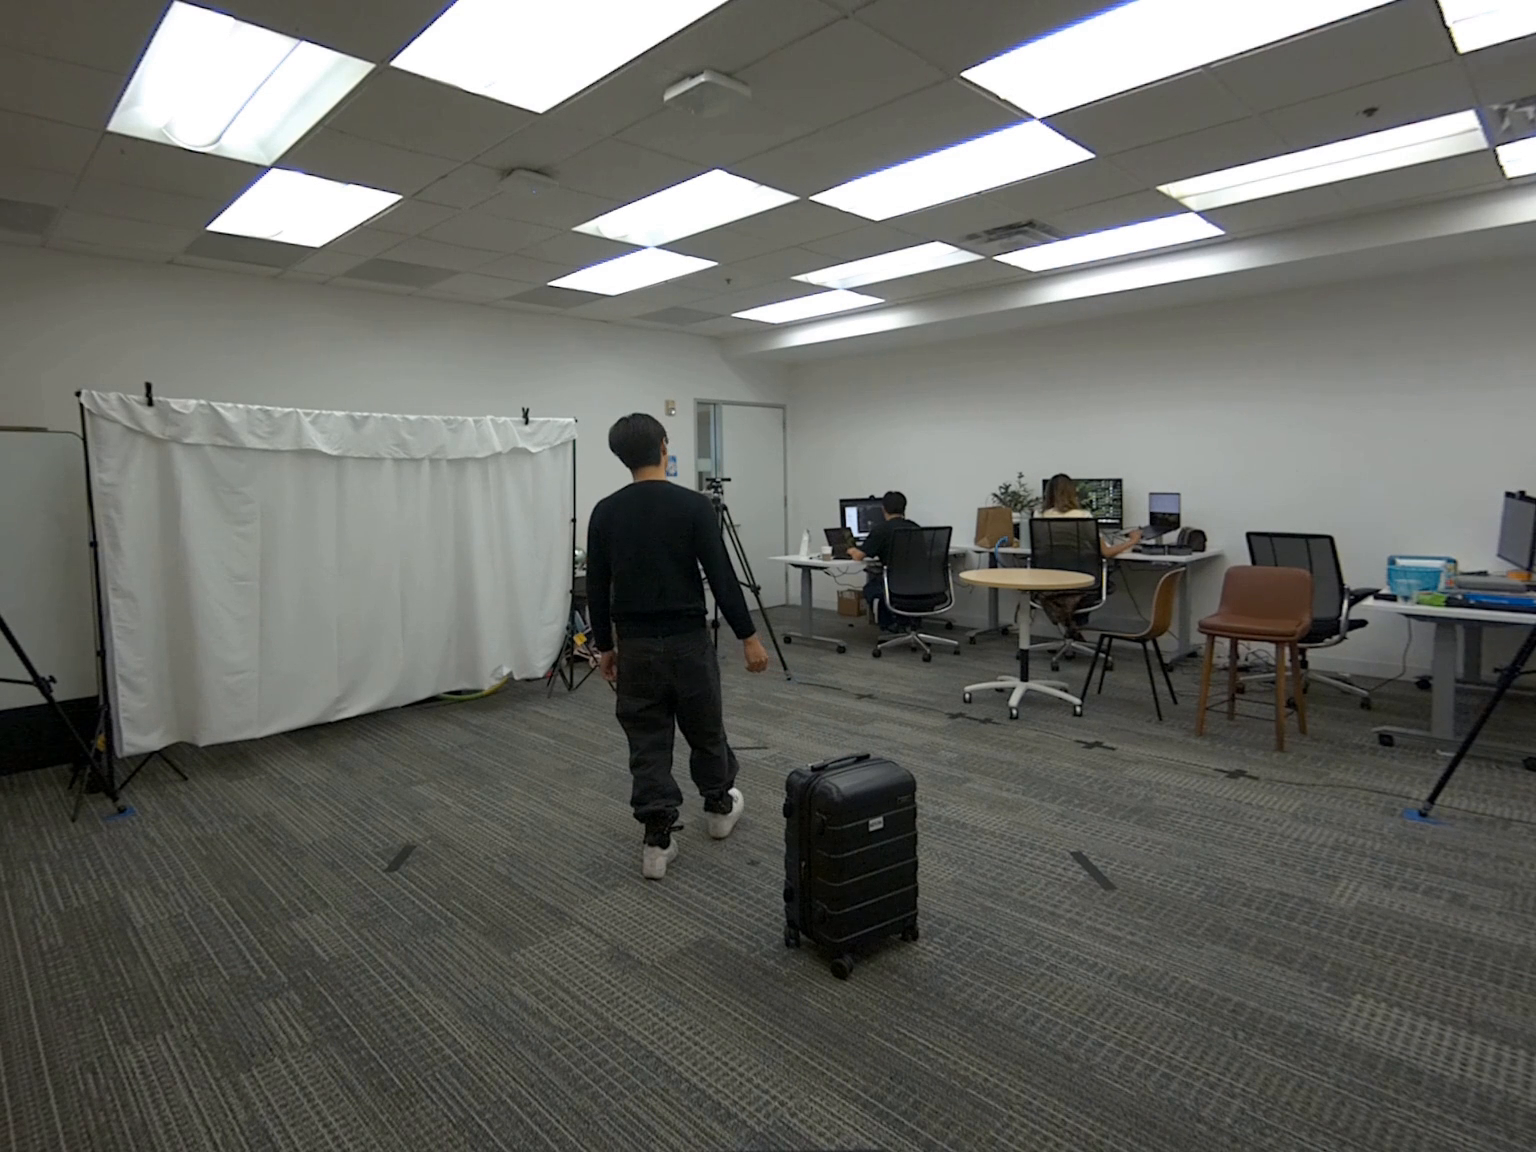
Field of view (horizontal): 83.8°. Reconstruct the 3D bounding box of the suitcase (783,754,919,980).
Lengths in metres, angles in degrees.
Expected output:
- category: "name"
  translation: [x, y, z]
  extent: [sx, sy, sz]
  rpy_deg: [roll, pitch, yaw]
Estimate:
- category: "suitcase"
  translation: [0.257, 0.824, 2.550]
  extent: [0.366, 0.547, 0.255]
  rpy_deg: [-3, 5, -35]
